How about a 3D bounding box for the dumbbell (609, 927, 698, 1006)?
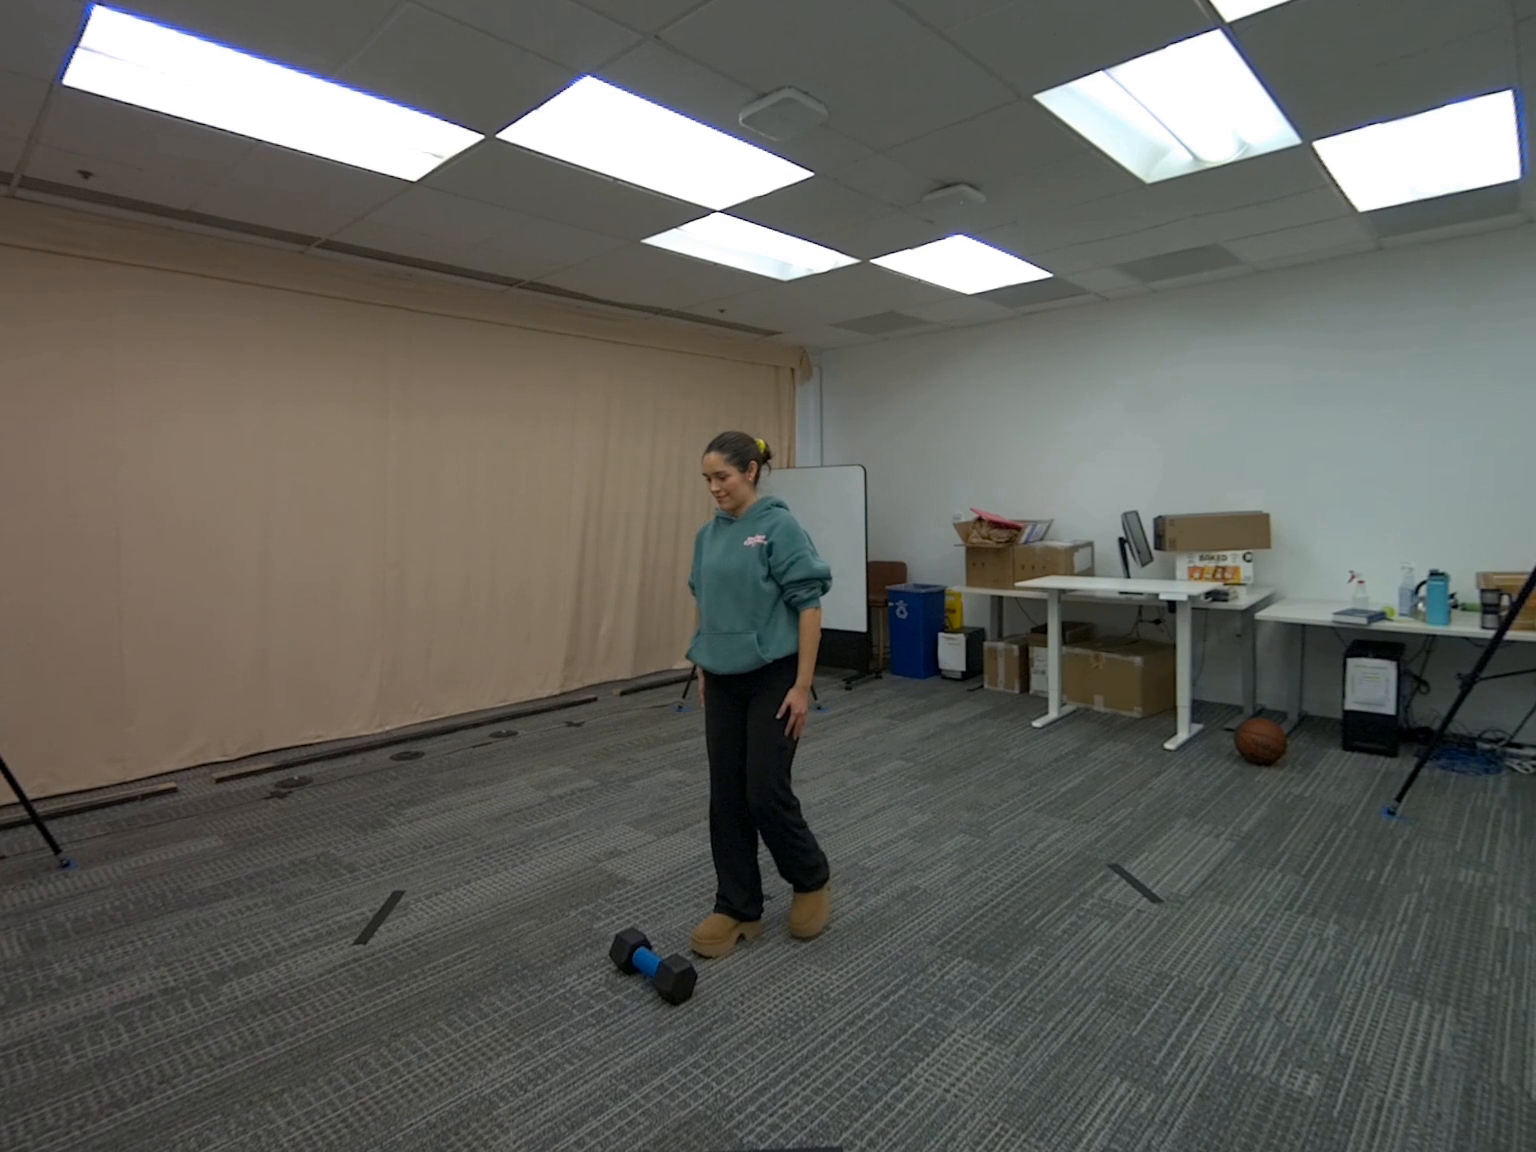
[{"bbox_3d":[-0.338,1.140,2.455,0.303,0.120,0.107,4,37,46],"label":"dumbbell"}]
